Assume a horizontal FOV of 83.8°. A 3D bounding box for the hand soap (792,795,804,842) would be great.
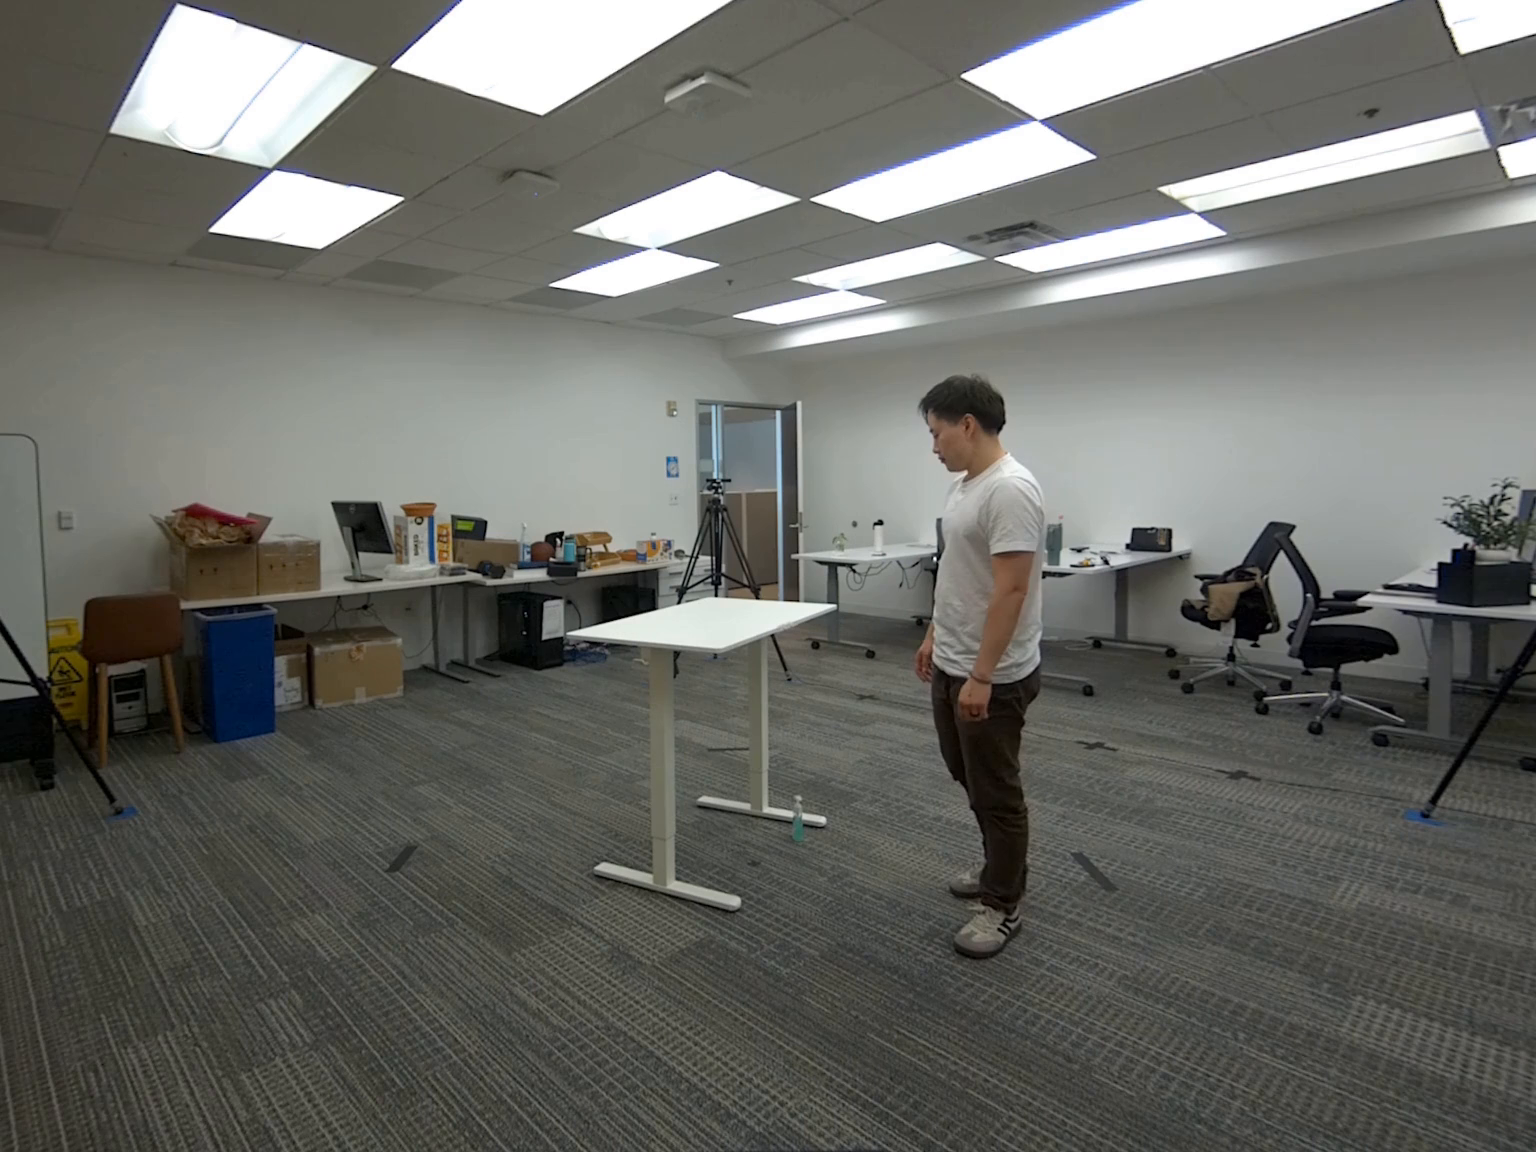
[{"bbox_3d":[0.118,0.938,3.311,0.043,0.168,0.085,-1,3,-6],"label":"hand soap"}]
